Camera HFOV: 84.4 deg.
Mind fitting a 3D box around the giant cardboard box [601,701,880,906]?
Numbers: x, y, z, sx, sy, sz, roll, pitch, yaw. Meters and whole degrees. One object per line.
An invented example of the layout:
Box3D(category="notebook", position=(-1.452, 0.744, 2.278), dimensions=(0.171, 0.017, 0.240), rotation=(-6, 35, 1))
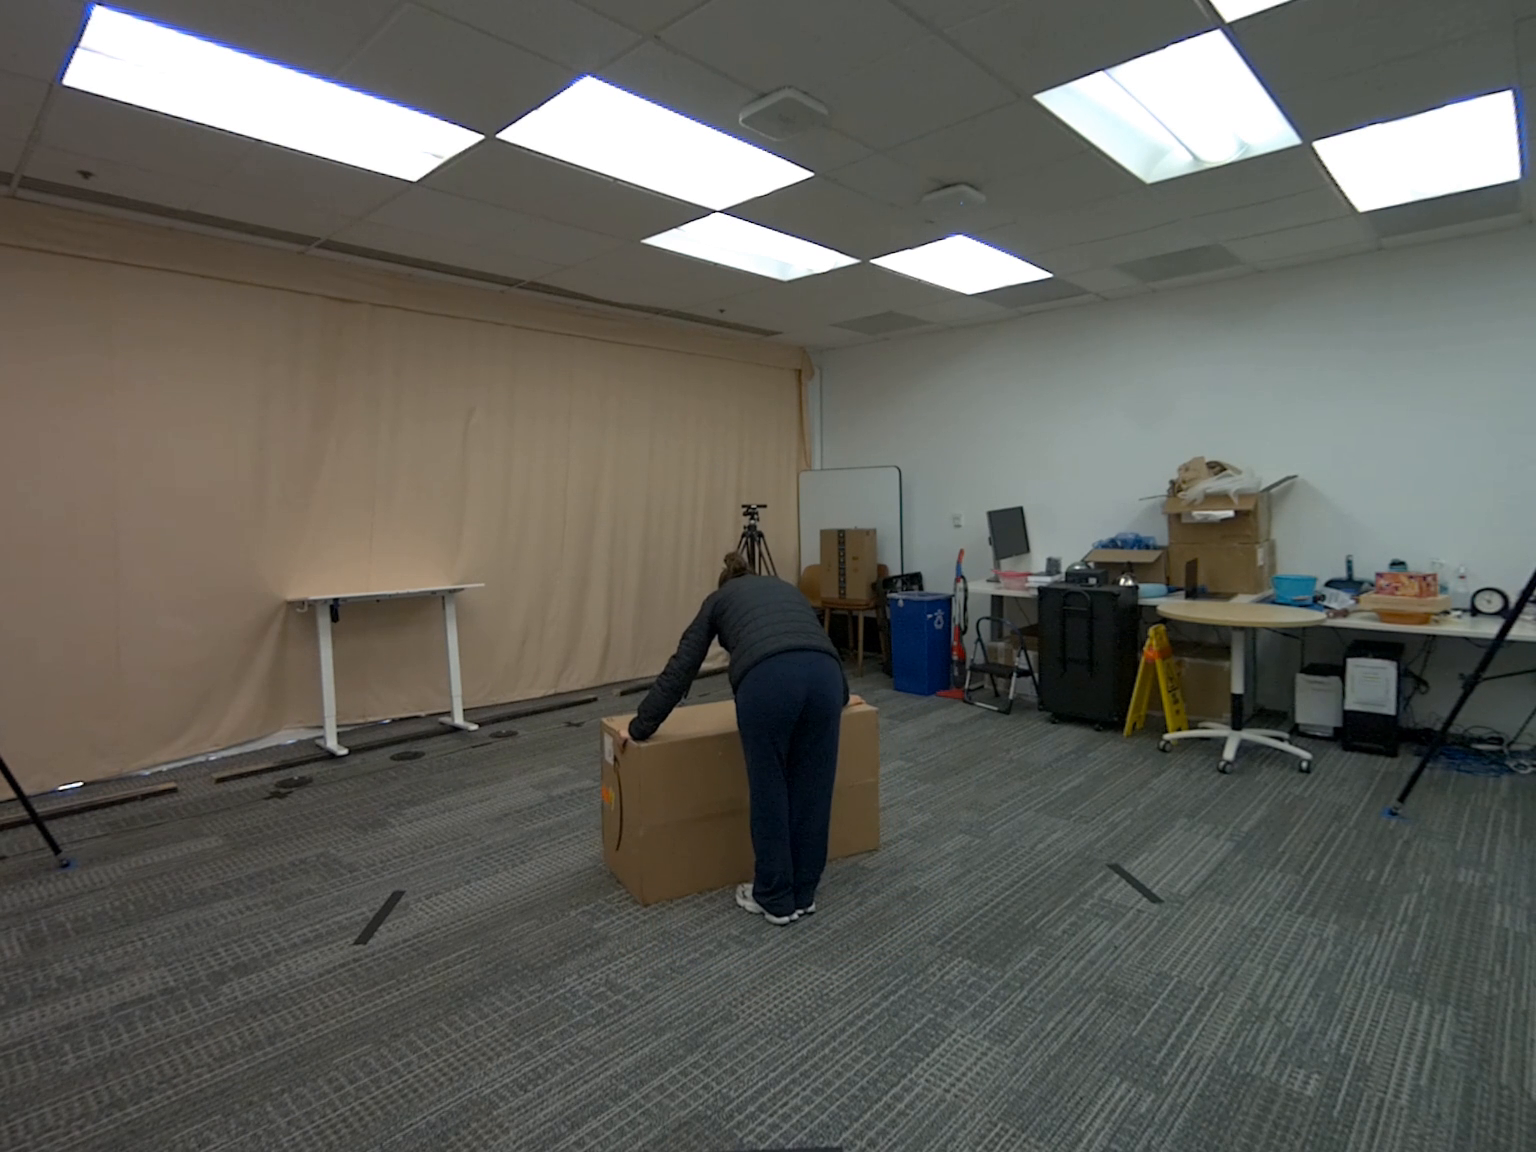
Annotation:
Box3D(category="giant cardboard box", position=(-0.097, 0.826, 3.331), dimensions=(1.002, 0.582, 0.459), rotation=(-3, 6, -26))
